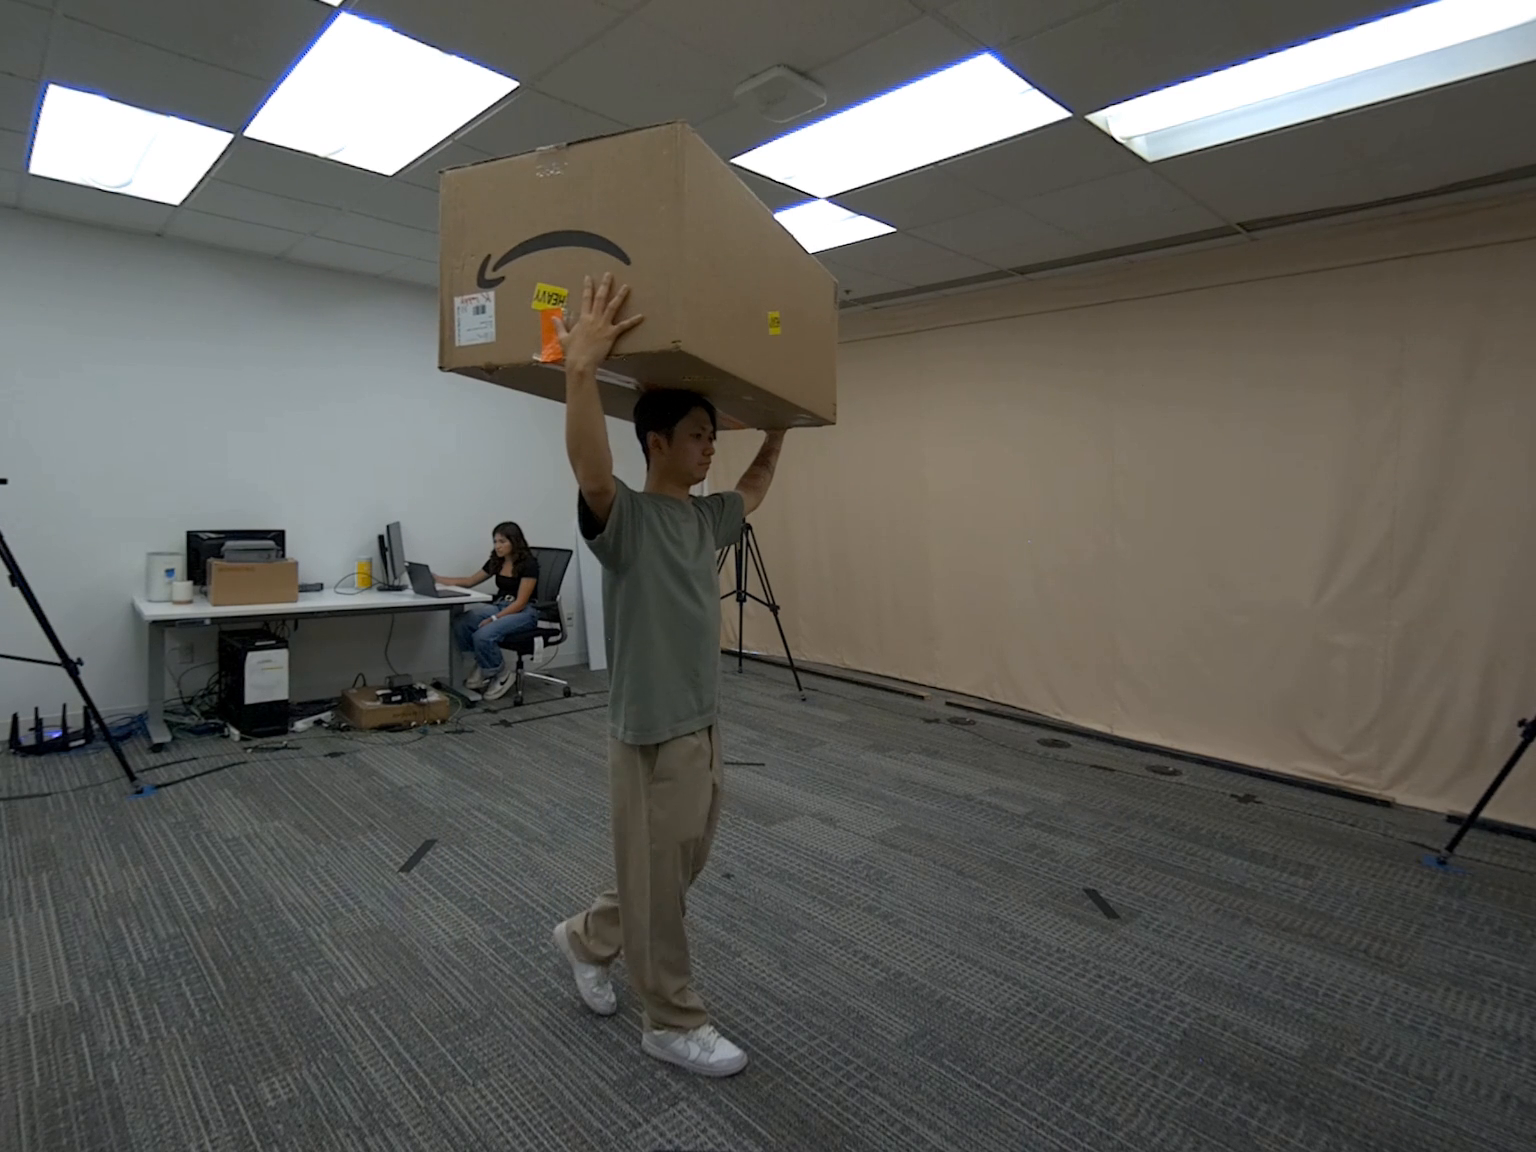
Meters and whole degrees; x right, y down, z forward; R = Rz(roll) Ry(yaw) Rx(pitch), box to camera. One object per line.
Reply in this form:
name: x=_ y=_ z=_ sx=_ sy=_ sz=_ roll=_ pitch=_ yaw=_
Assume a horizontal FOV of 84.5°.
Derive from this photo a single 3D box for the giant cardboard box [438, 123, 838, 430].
giant cardboard box: x=-0.249 y=-0.642 z=2.112 sx=0.587 sy=0.426 sz=1.009 roll=1 pitch=2 yaw=22
